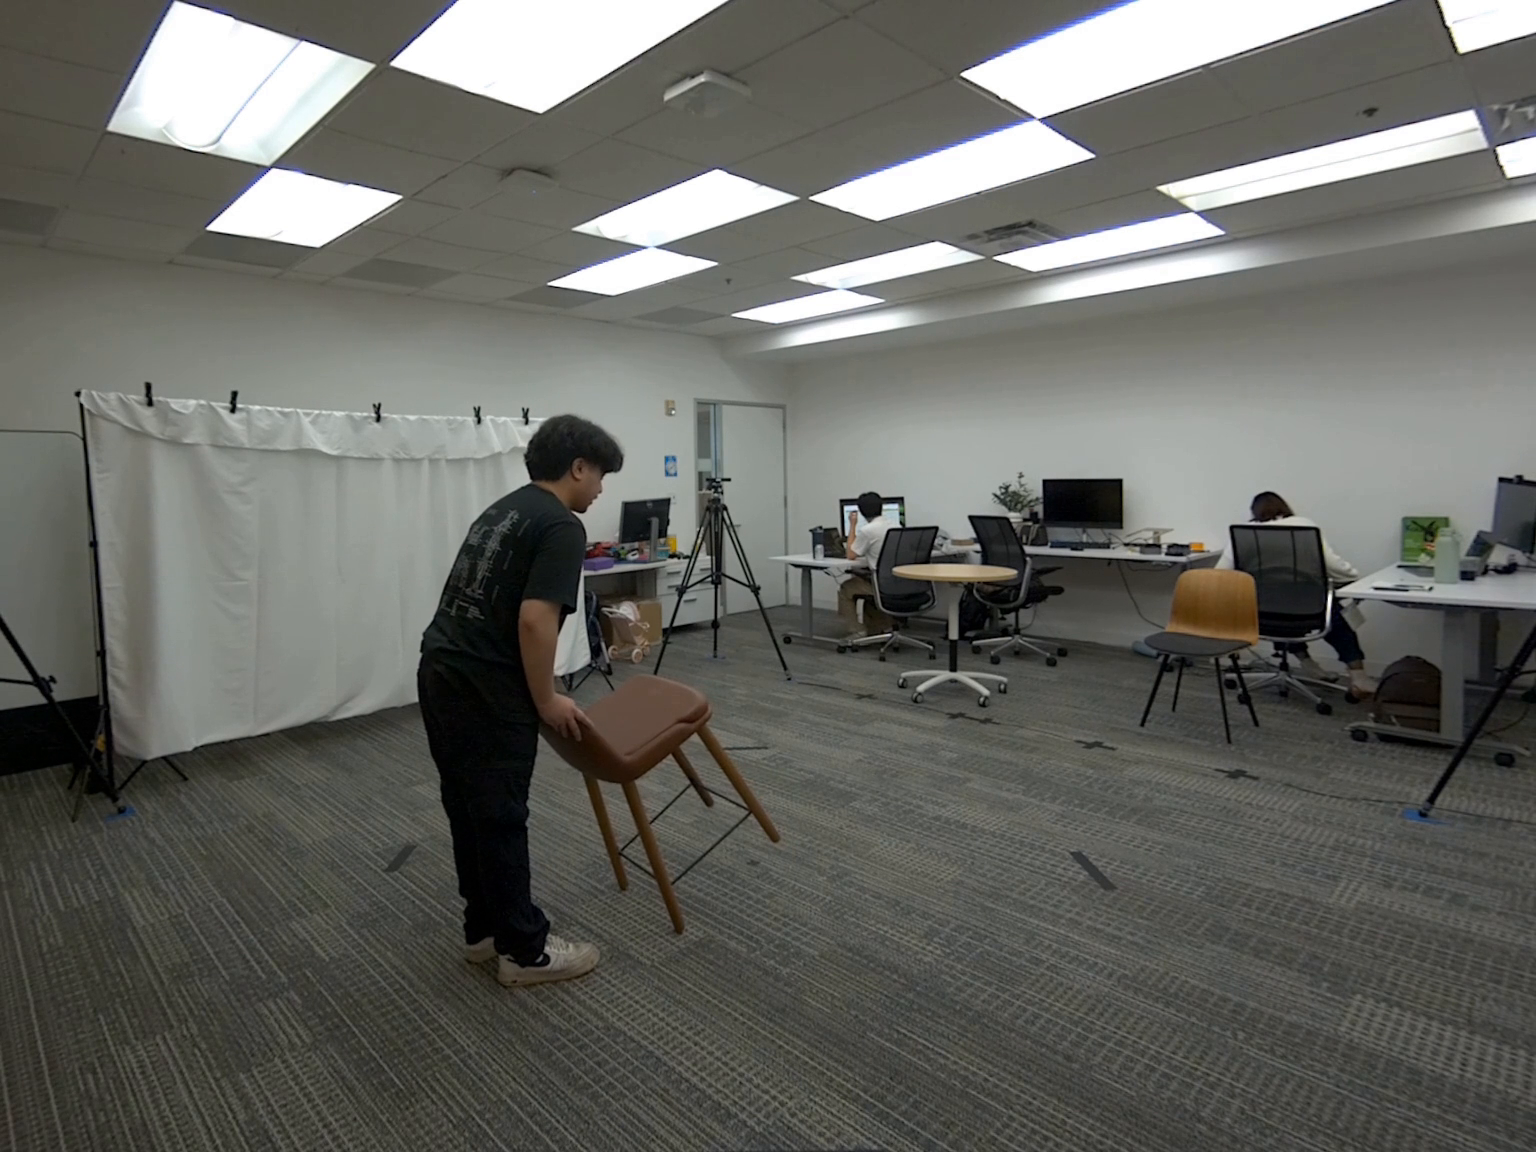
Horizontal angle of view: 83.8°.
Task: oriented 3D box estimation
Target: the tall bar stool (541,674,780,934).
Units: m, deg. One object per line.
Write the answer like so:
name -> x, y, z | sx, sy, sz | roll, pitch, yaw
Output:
tall bar stool -> -0.394, 0.605, 2.747 | 0.465, 0.869, 0.470 | -37, 24, -29
